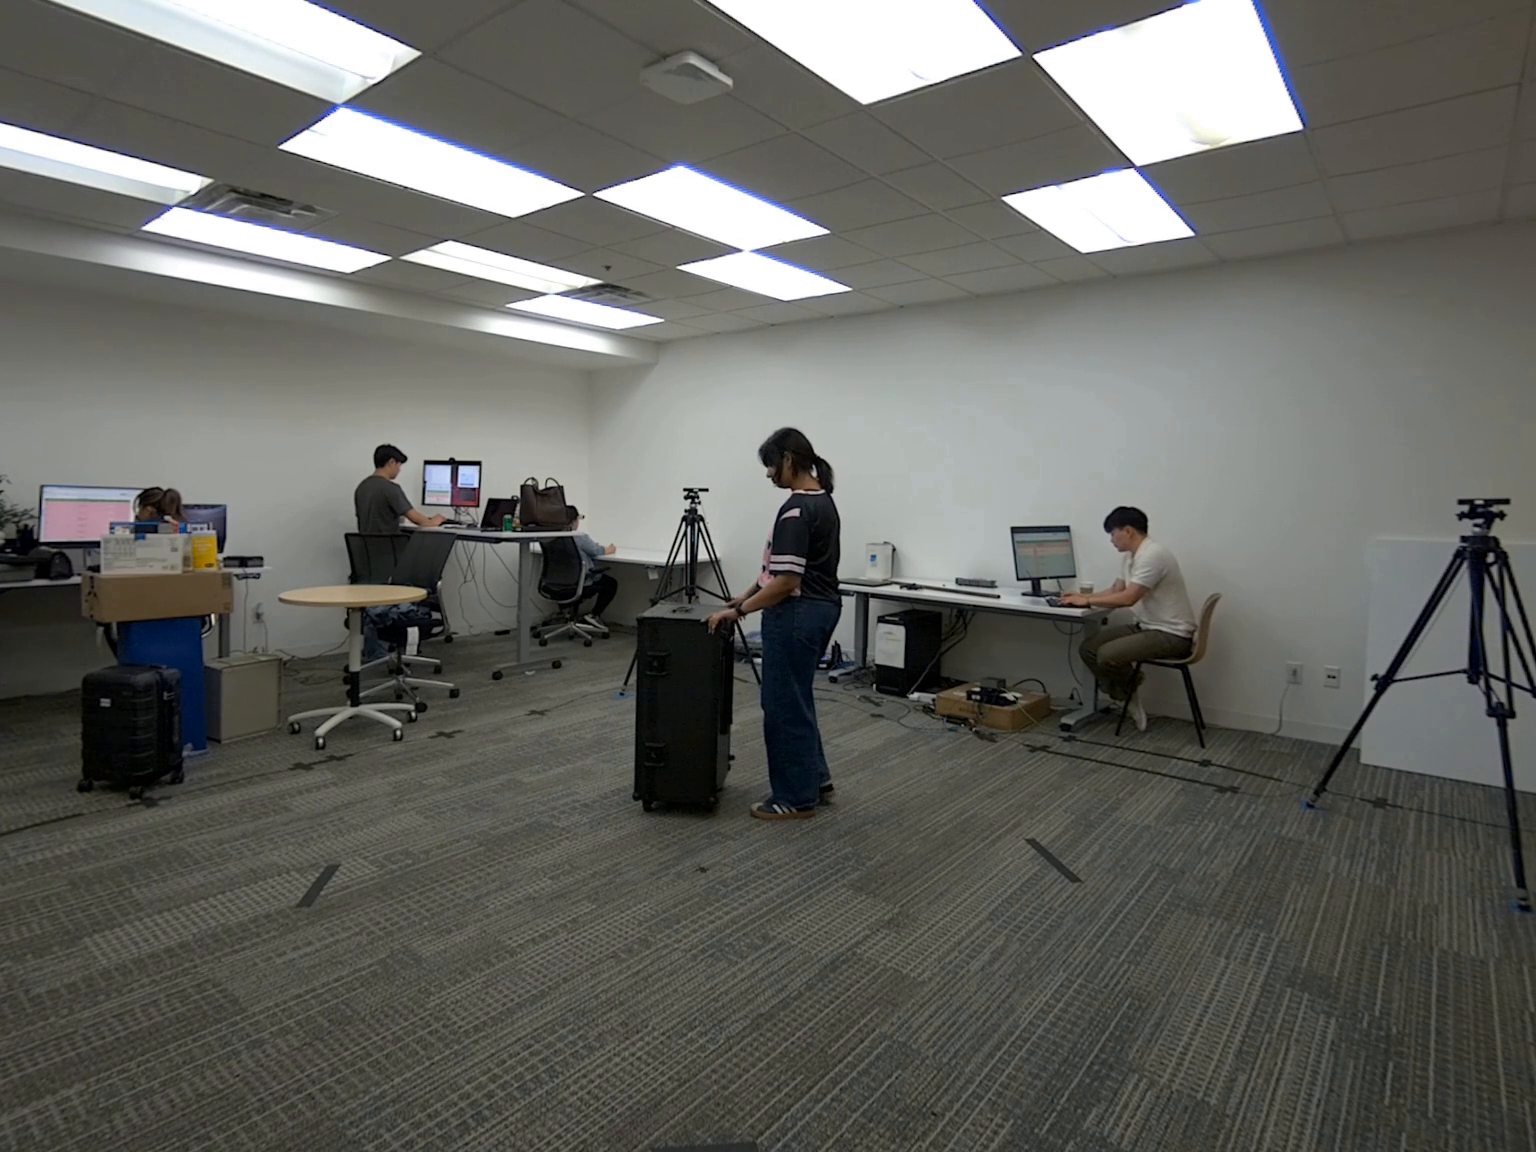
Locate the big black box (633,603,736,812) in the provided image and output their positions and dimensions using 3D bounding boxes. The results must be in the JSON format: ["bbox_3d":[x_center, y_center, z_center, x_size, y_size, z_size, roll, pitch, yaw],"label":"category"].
[{"bbox_3d":[-0.375,0.575,3.807,0.388,0.865,0.521,2,4,6],"label":"big black box"}]
